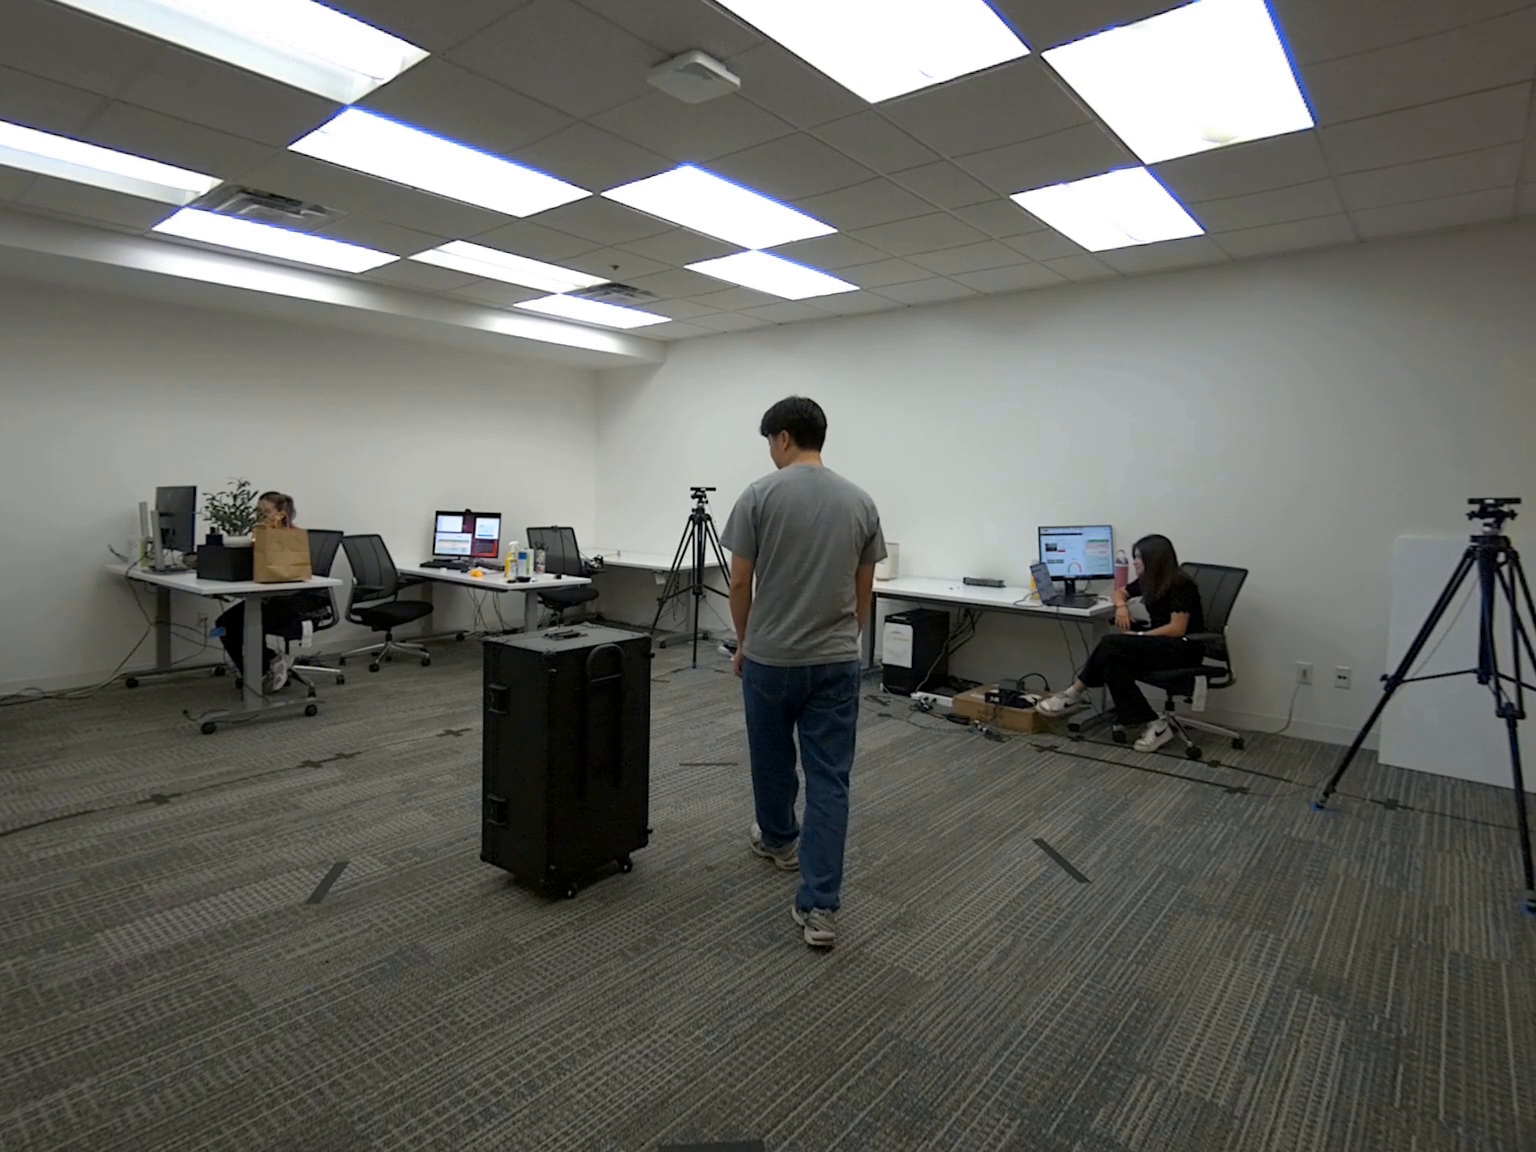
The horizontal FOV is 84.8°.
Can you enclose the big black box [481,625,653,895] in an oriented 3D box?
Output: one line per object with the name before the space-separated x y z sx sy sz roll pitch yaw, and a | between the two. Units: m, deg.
big black box | -0.718 0.638 3.035 0.409 0.859 0.506 4 5 37
